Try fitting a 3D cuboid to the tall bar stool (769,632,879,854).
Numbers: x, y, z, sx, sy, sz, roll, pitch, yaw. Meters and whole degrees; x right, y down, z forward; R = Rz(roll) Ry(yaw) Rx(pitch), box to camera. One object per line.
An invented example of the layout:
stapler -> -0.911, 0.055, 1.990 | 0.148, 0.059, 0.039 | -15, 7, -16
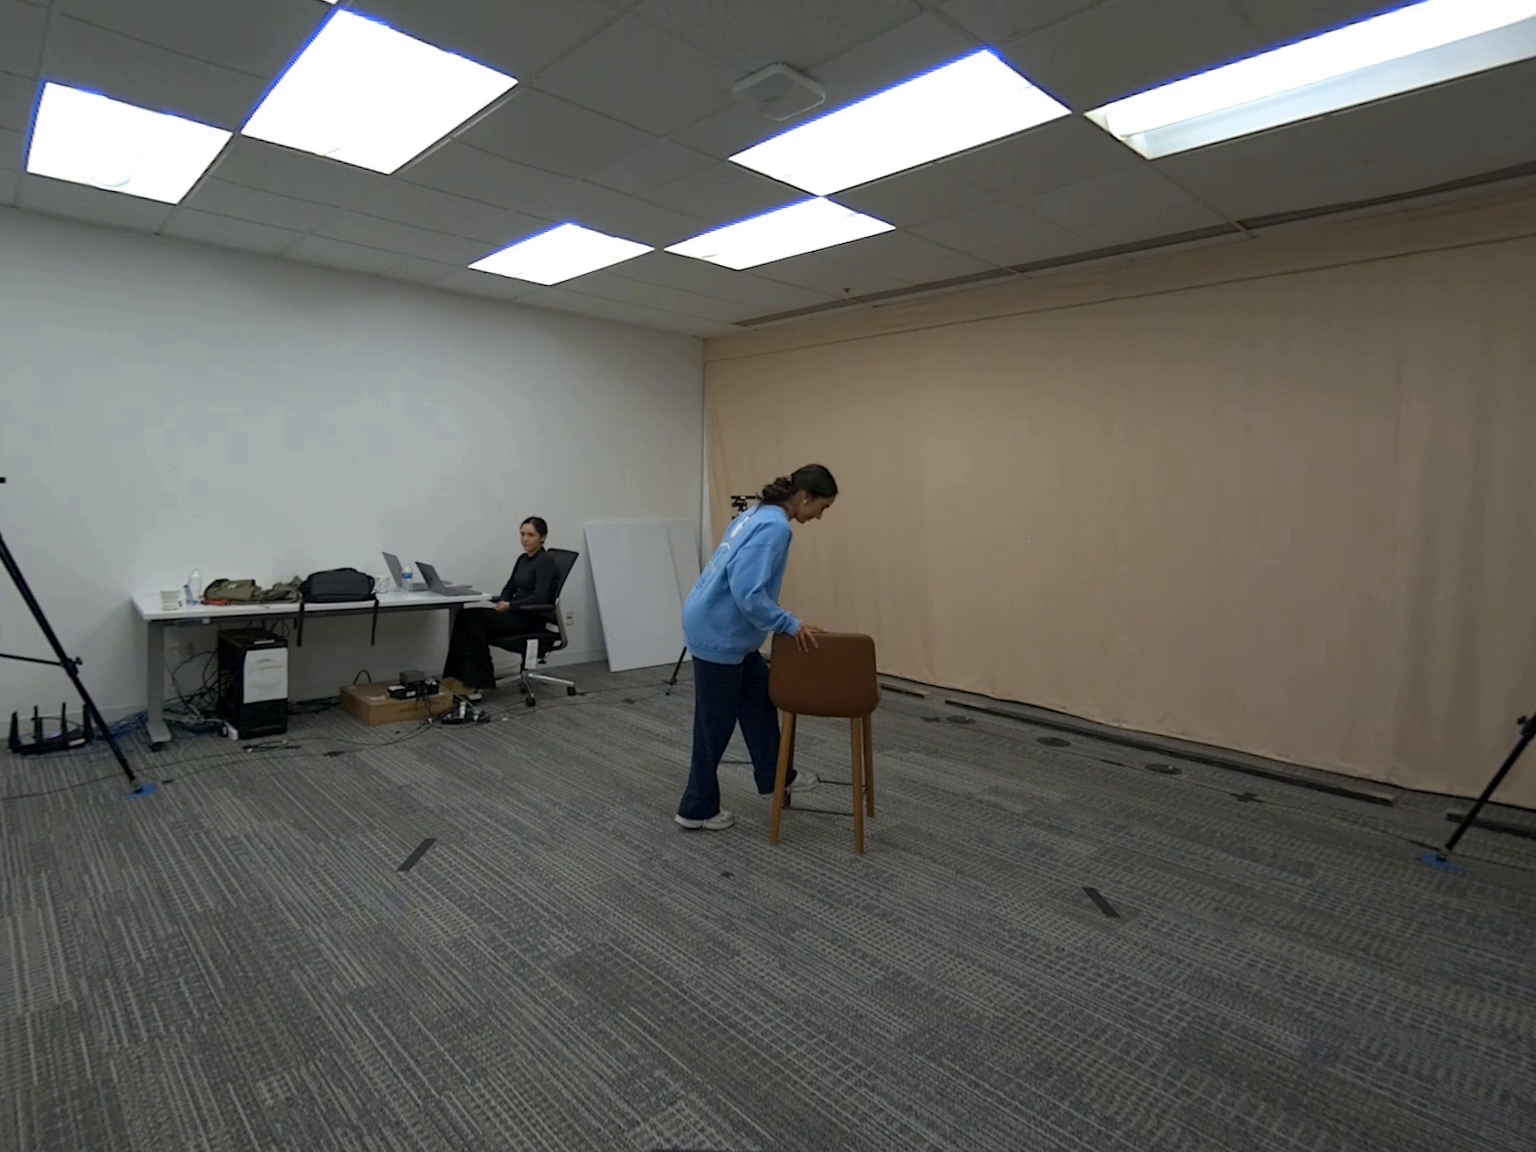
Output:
tall bar stool -> 0.235, 0.635, 3.544 | 0.461, 0.887, 0.464 | 2, 4, 12
